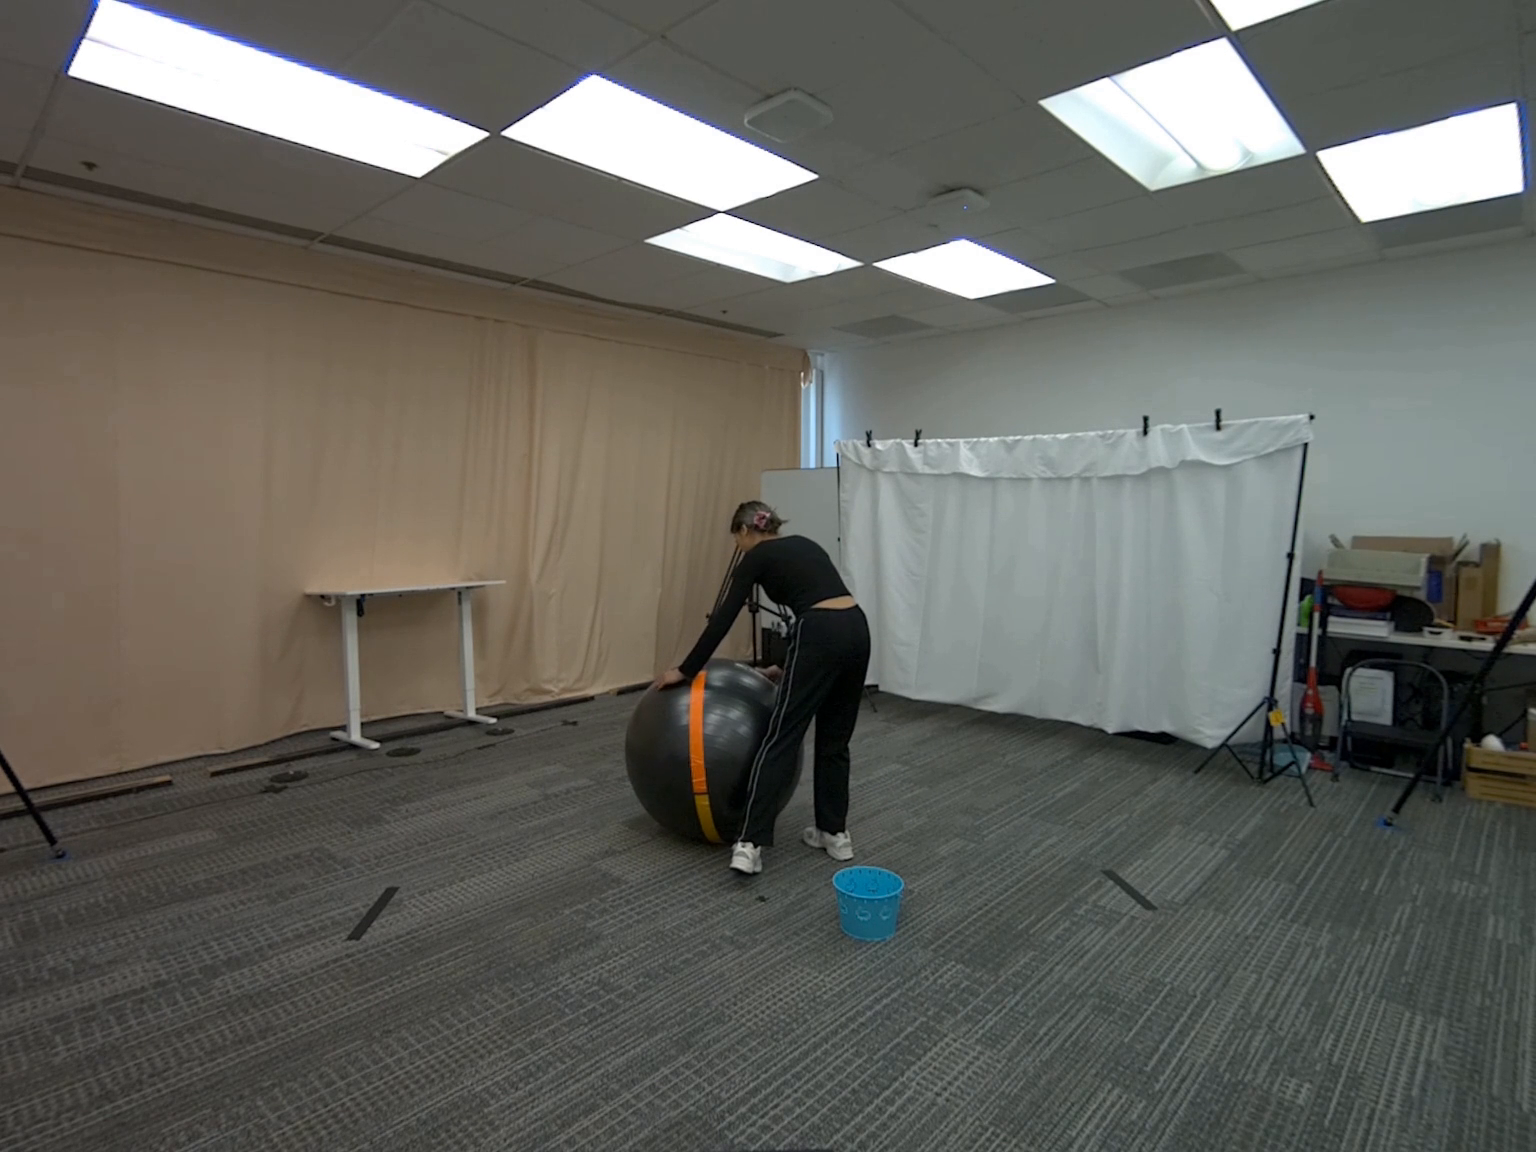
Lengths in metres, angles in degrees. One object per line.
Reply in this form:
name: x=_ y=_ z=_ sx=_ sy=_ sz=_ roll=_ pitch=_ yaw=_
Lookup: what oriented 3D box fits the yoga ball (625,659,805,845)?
yoga ball: x=-0.233 y=0.740 z=3.587 sx=0.757 sy=0.756 sz=0.760 roll=0 pitch=4 yaw=-2
